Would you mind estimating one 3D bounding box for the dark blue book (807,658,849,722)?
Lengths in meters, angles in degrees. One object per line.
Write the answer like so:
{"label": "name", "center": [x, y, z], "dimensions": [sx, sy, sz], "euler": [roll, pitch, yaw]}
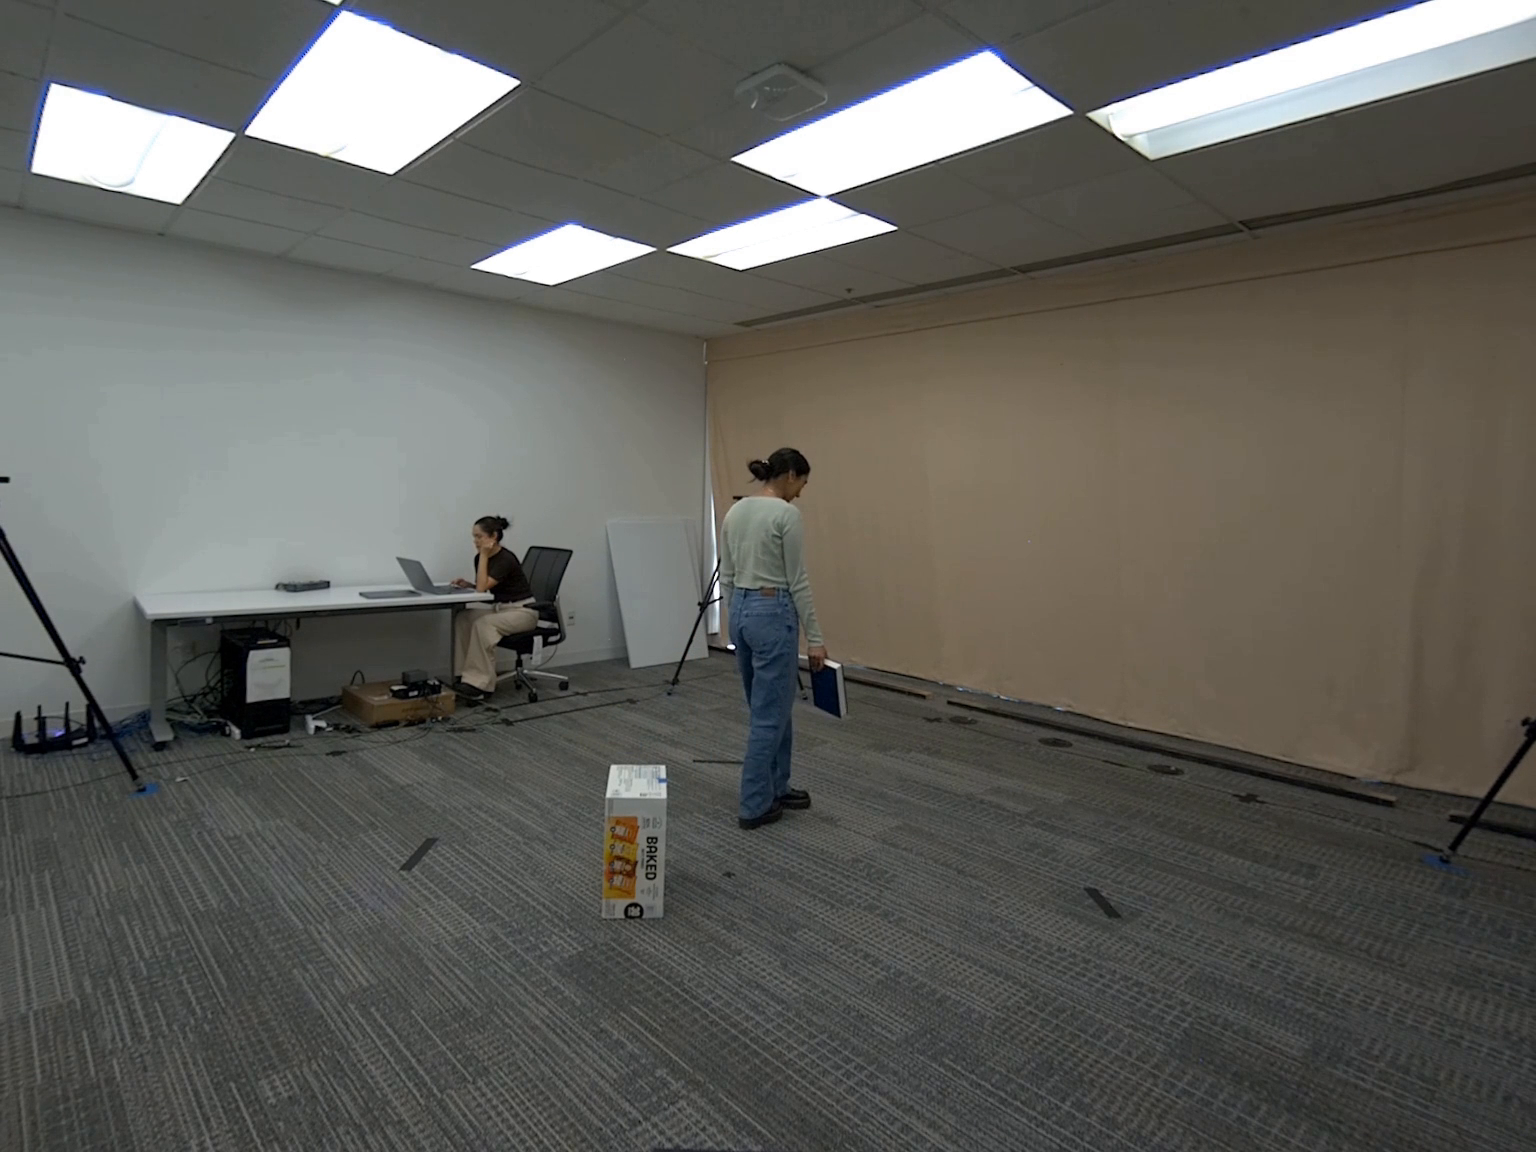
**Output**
{"label": "dark blue book", "center": [0.250, 0.466, 3.557], "dimensions": [0.044, 0.241, 0.168], "euler": [-25, 28, -36]}
